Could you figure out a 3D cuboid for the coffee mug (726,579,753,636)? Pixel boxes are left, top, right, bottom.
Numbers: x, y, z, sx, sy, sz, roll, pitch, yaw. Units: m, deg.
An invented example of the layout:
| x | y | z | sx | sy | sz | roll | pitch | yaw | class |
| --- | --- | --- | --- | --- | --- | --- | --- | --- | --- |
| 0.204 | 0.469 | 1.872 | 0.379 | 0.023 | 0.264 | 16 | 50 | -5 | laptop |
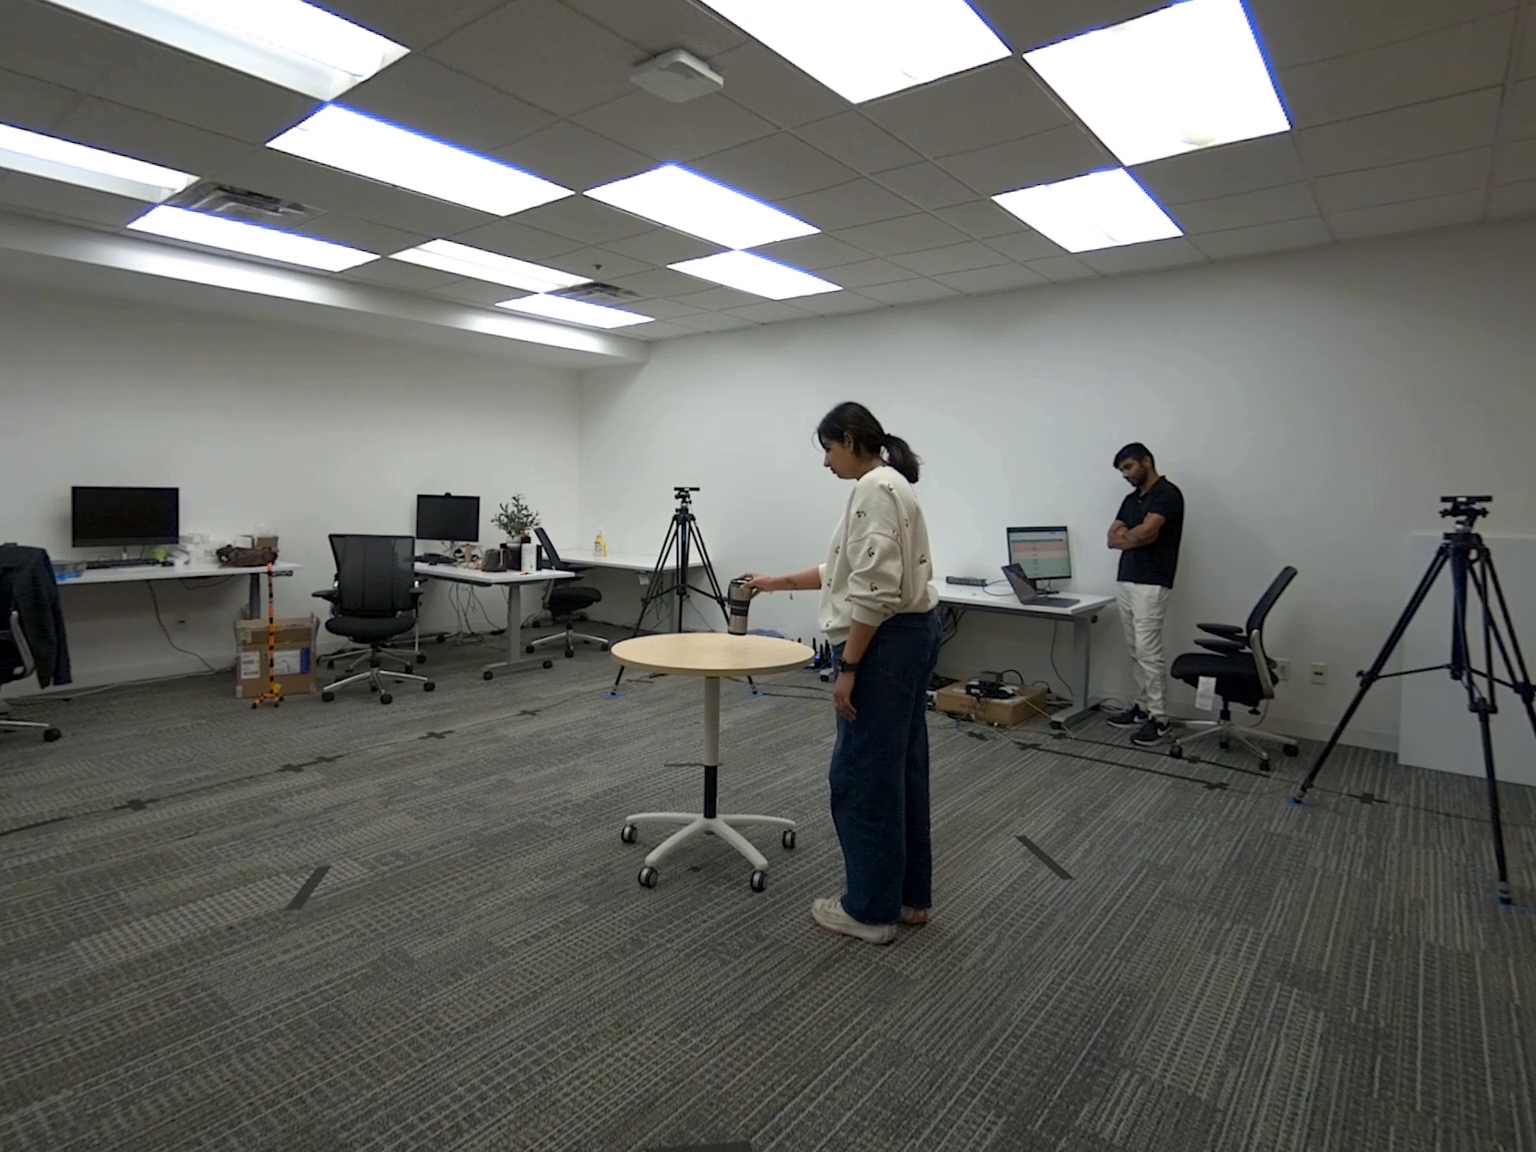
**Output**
| x | y | z | sx | sy | sz | roll | pitch | yaw | class |
| --- | --- | --- | --- | --- | --- | --- | --- | --- | --- |
| -0.096 | 0.116 | 3.192 | 0.091 | 0.202 | 0.119 | 5 | 7 | 34 | coffee mug |
